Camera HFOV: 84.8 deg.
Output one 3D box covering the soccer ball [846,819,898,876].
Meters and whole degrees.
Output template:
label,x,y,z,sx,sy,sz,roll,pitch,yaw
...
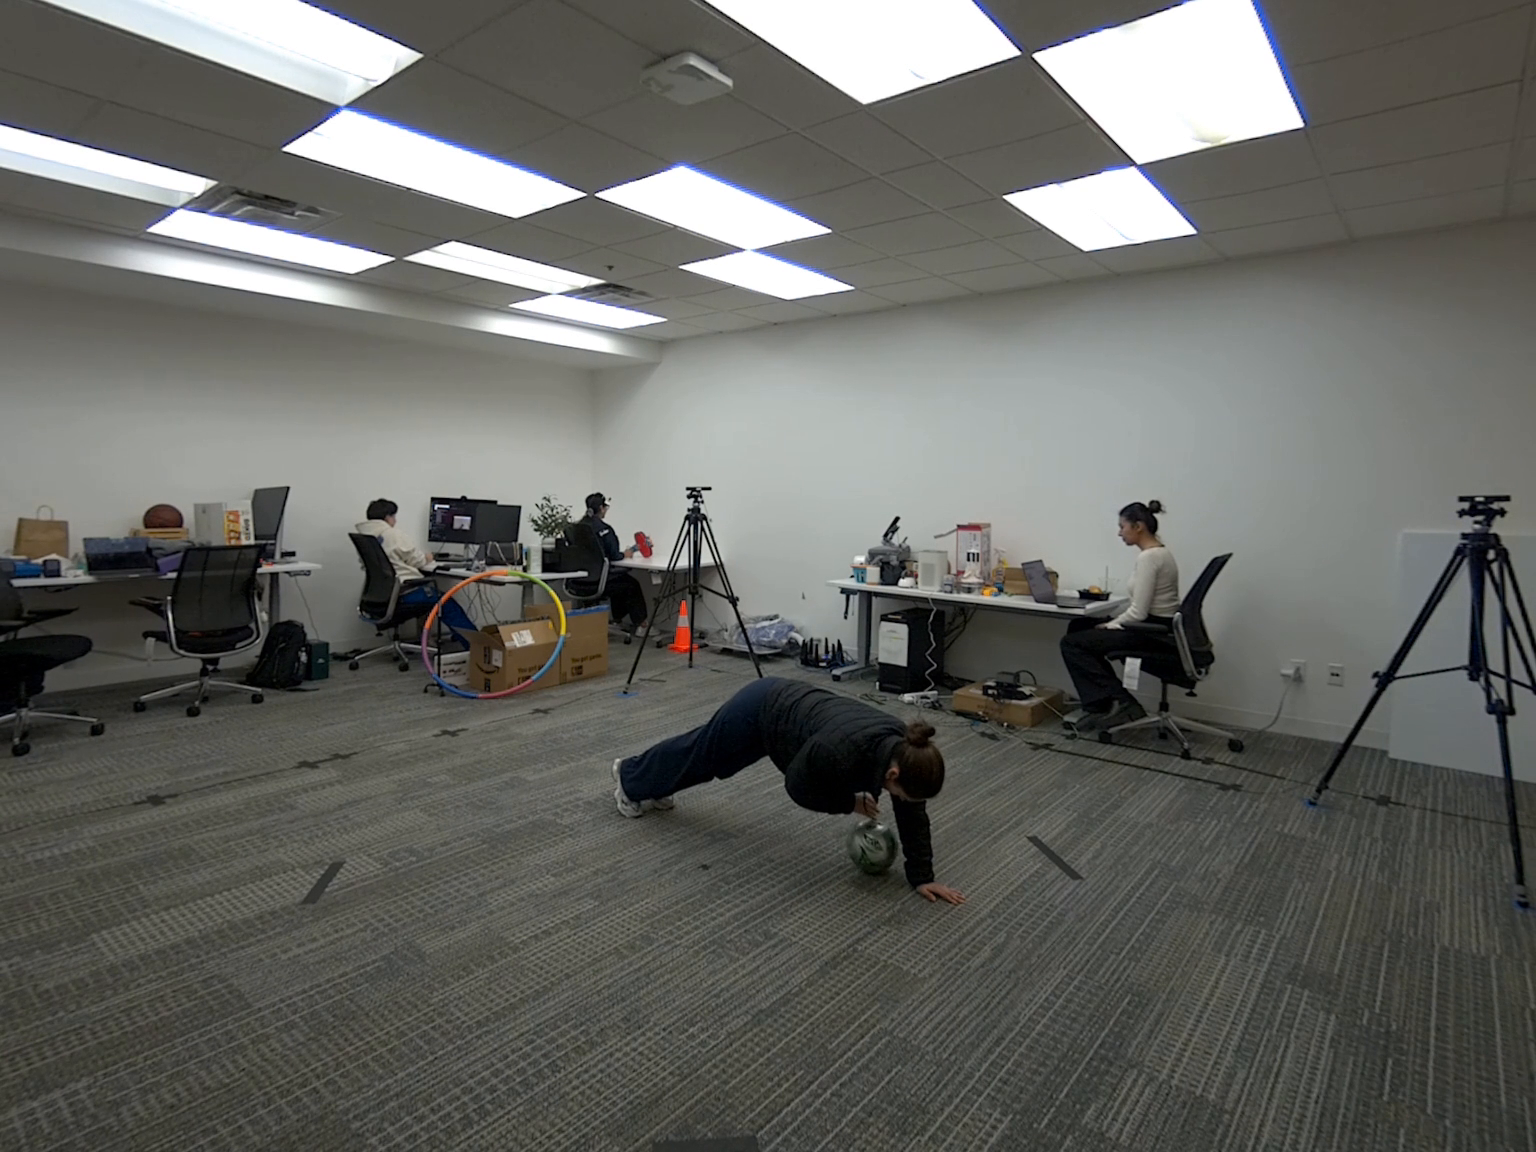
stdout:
label,x,y,z,sx,sy,sz,roll,pitch,yaw
soccer ball,0.376,0.987,3.116,0.187,0.187,0.188,1,4,-2
